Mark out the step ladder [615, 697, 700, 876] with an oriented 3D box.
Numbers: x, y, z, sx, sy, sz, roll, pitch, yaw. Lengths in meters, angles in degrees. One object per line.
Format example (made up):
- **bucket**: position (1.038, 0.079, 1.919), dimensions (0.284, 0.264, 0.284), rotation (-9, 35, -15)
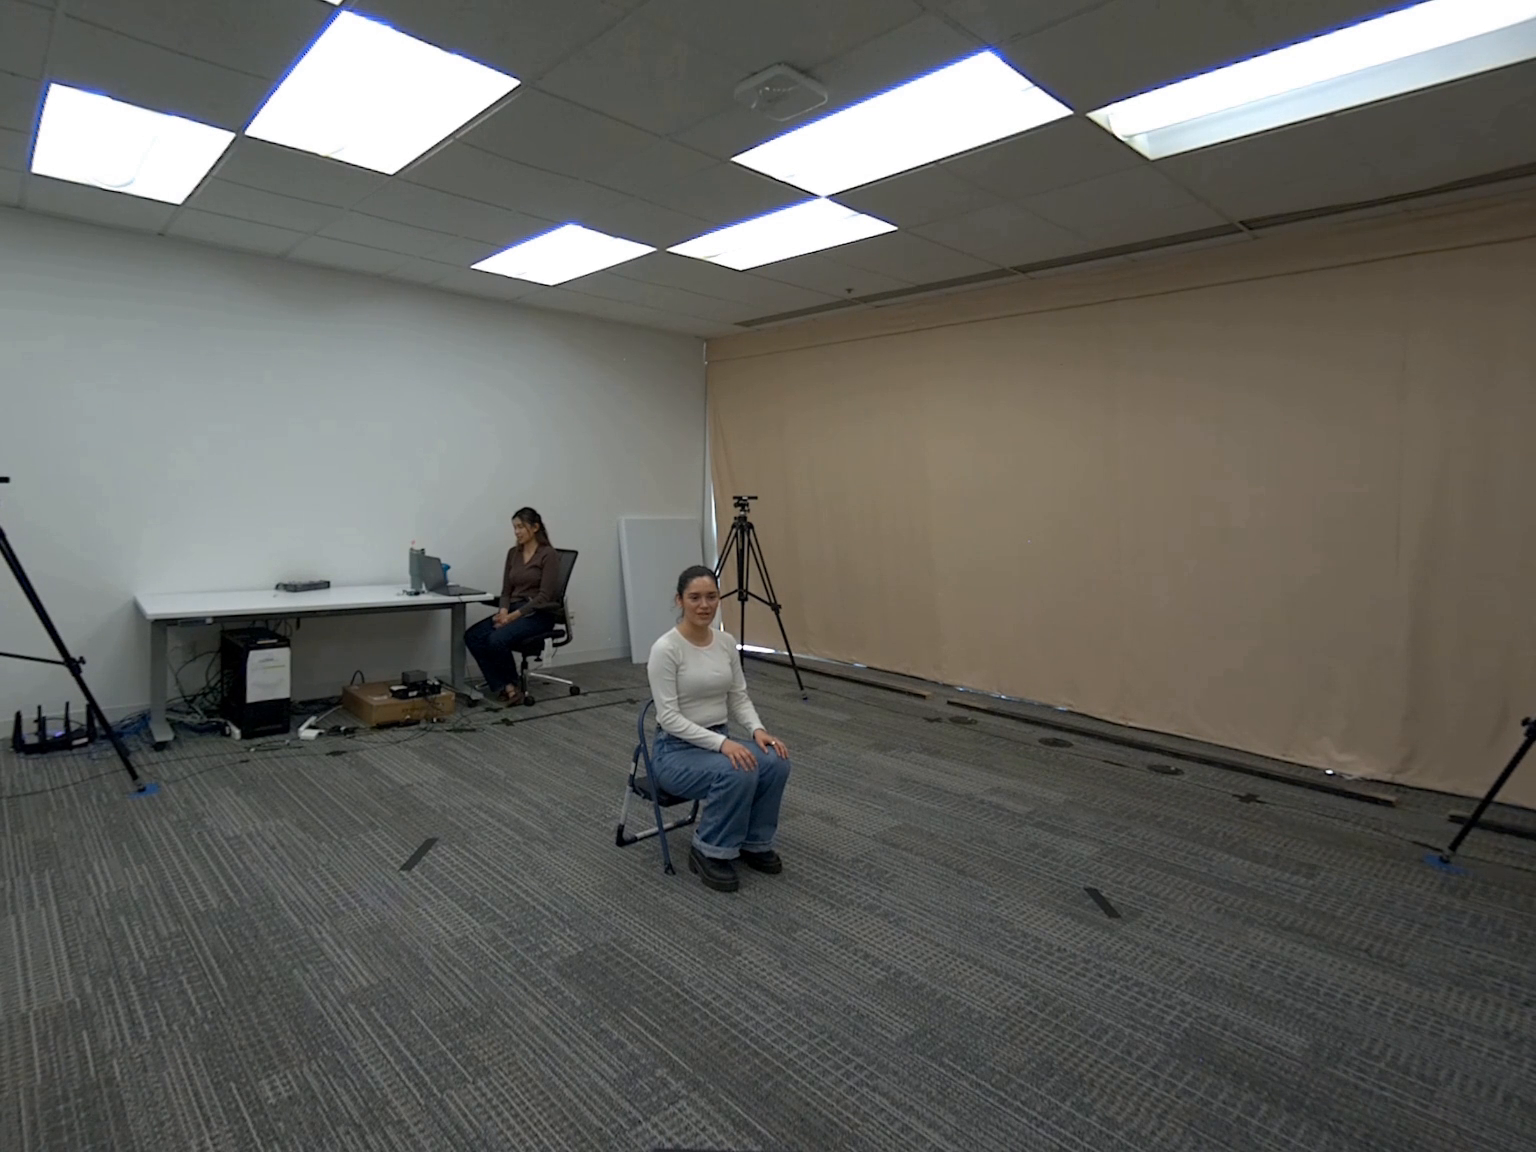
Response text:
- **step ladder**: position (-0.342, 0.772, 3.347), dimensions (0.358, 0.605, 0.421), rotation (5, 5, 44)
